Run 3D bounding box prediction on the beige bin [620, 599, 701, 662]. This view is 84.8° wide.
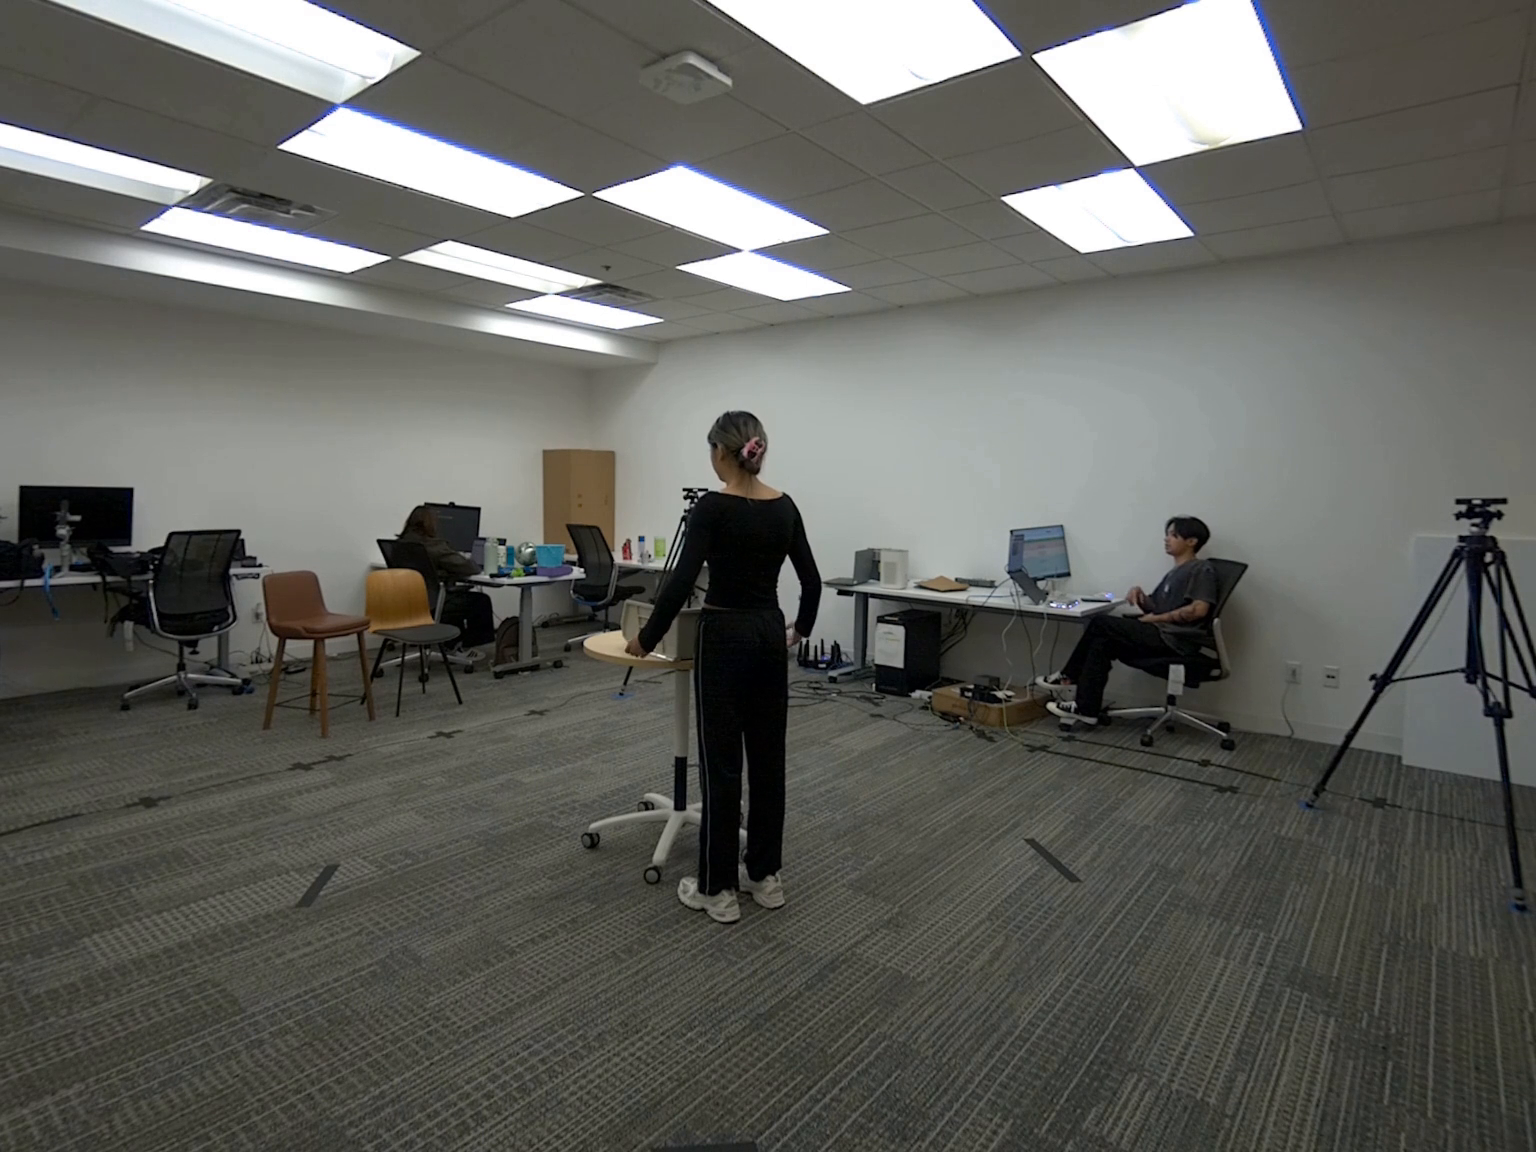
[{"bbox_3d":[-0.284,0.179,3.153,0.410,0.188,0.390,-2,6,-37],"label":"beige bin"}]
